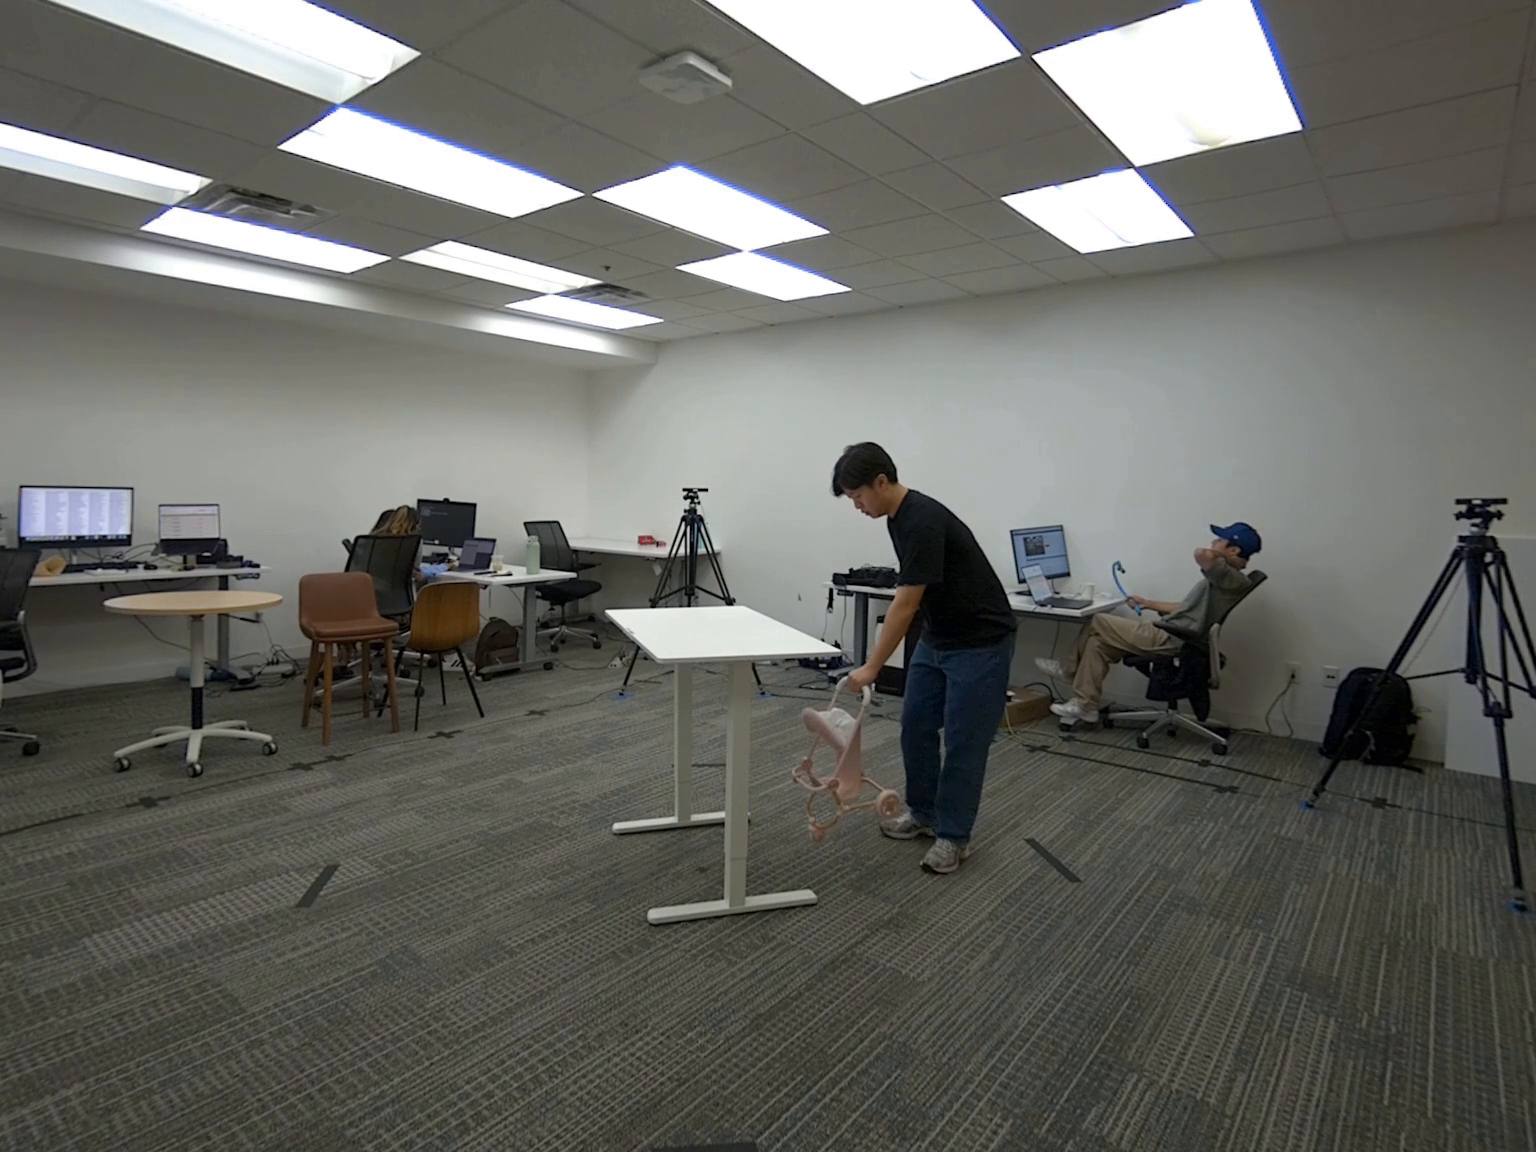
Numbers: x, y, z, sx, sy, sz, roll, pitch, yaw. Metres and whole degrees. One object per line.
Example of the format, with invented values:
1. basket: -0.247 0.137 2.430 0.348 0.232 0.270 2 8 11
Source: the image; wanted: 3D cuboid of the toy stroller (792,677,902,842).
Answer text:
1. toy stroller: 0.231 0.678 3.079 0.337 0.526 0.289 -18 15 -17
